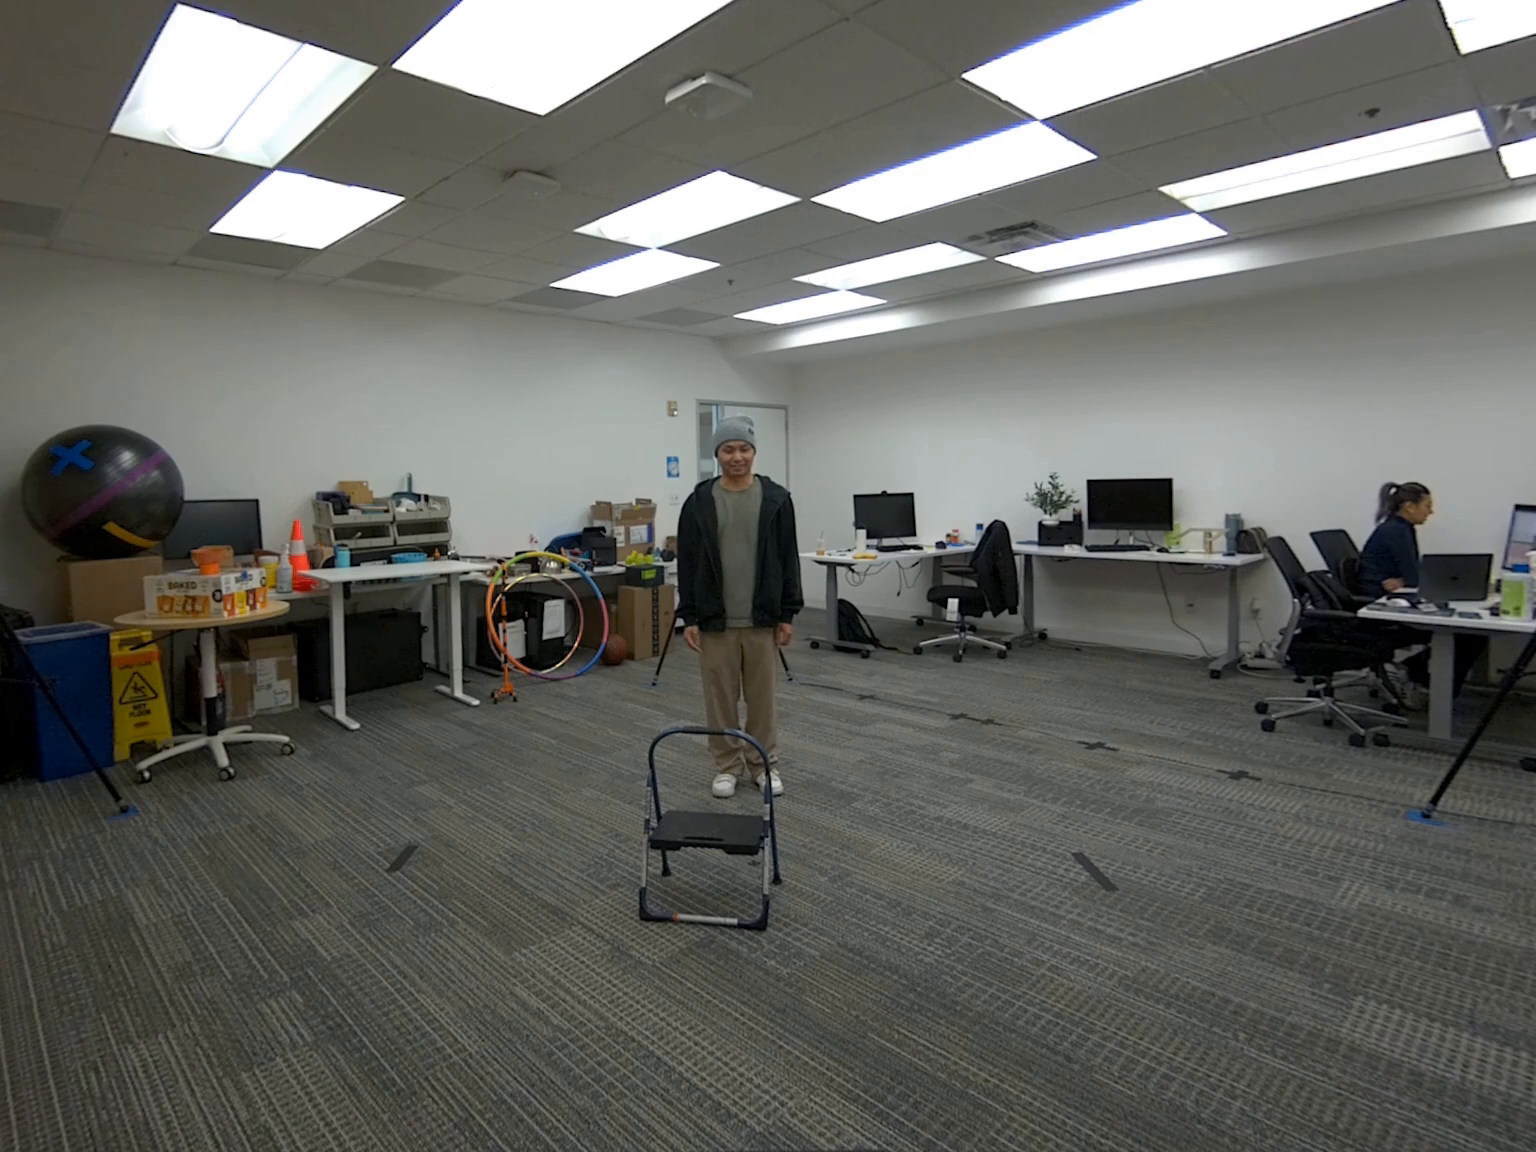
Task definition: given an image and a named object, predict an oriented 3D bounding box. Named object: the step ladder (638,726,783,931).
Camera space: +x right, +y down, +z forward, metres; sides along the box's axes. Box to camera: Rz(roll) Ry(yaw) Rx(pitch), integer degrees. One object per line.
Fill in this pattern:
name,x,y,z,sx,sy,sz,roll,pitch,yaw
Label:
step ladder,-0.191,0.780,2.824,0.435,0.604,0.347,0,4,9
